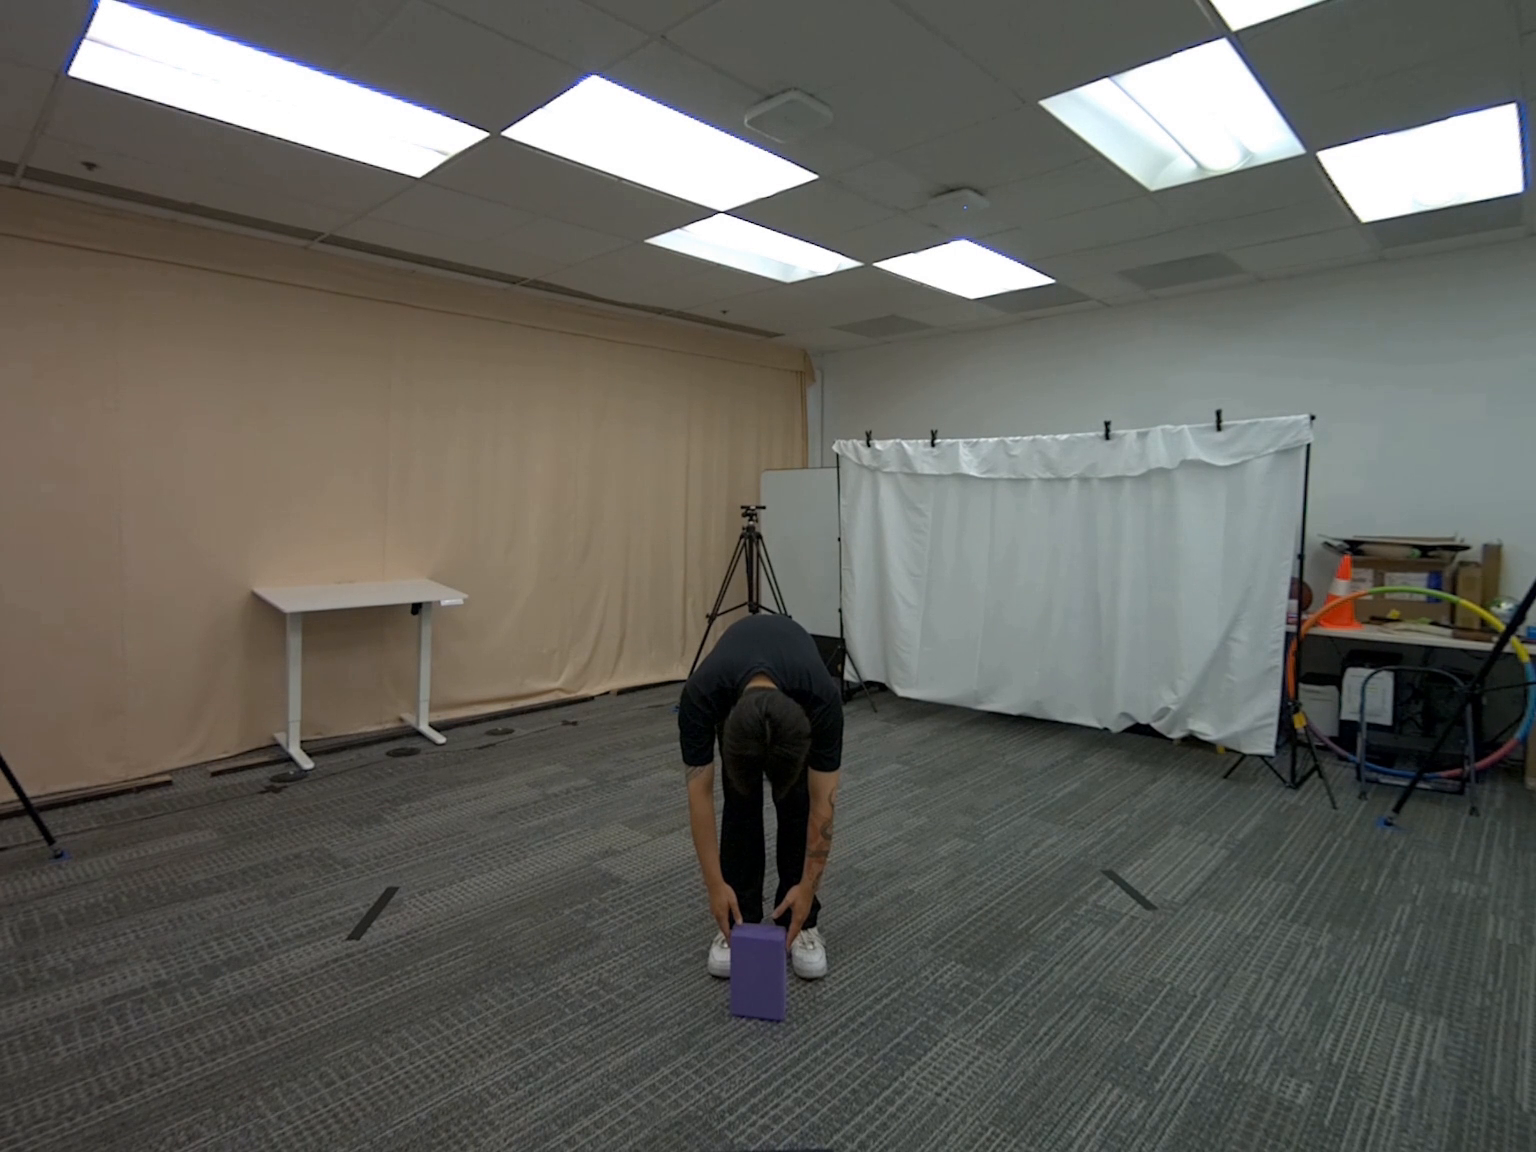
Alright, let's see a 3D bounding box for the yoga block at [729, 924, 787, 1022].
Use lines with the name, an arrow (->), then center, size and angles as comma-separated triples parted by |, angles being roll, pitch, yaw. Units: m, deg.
yoga block -> -0.026, 1.081, 2.315 | 0.150, 0.229, 0.076 | 0, 3, 9
